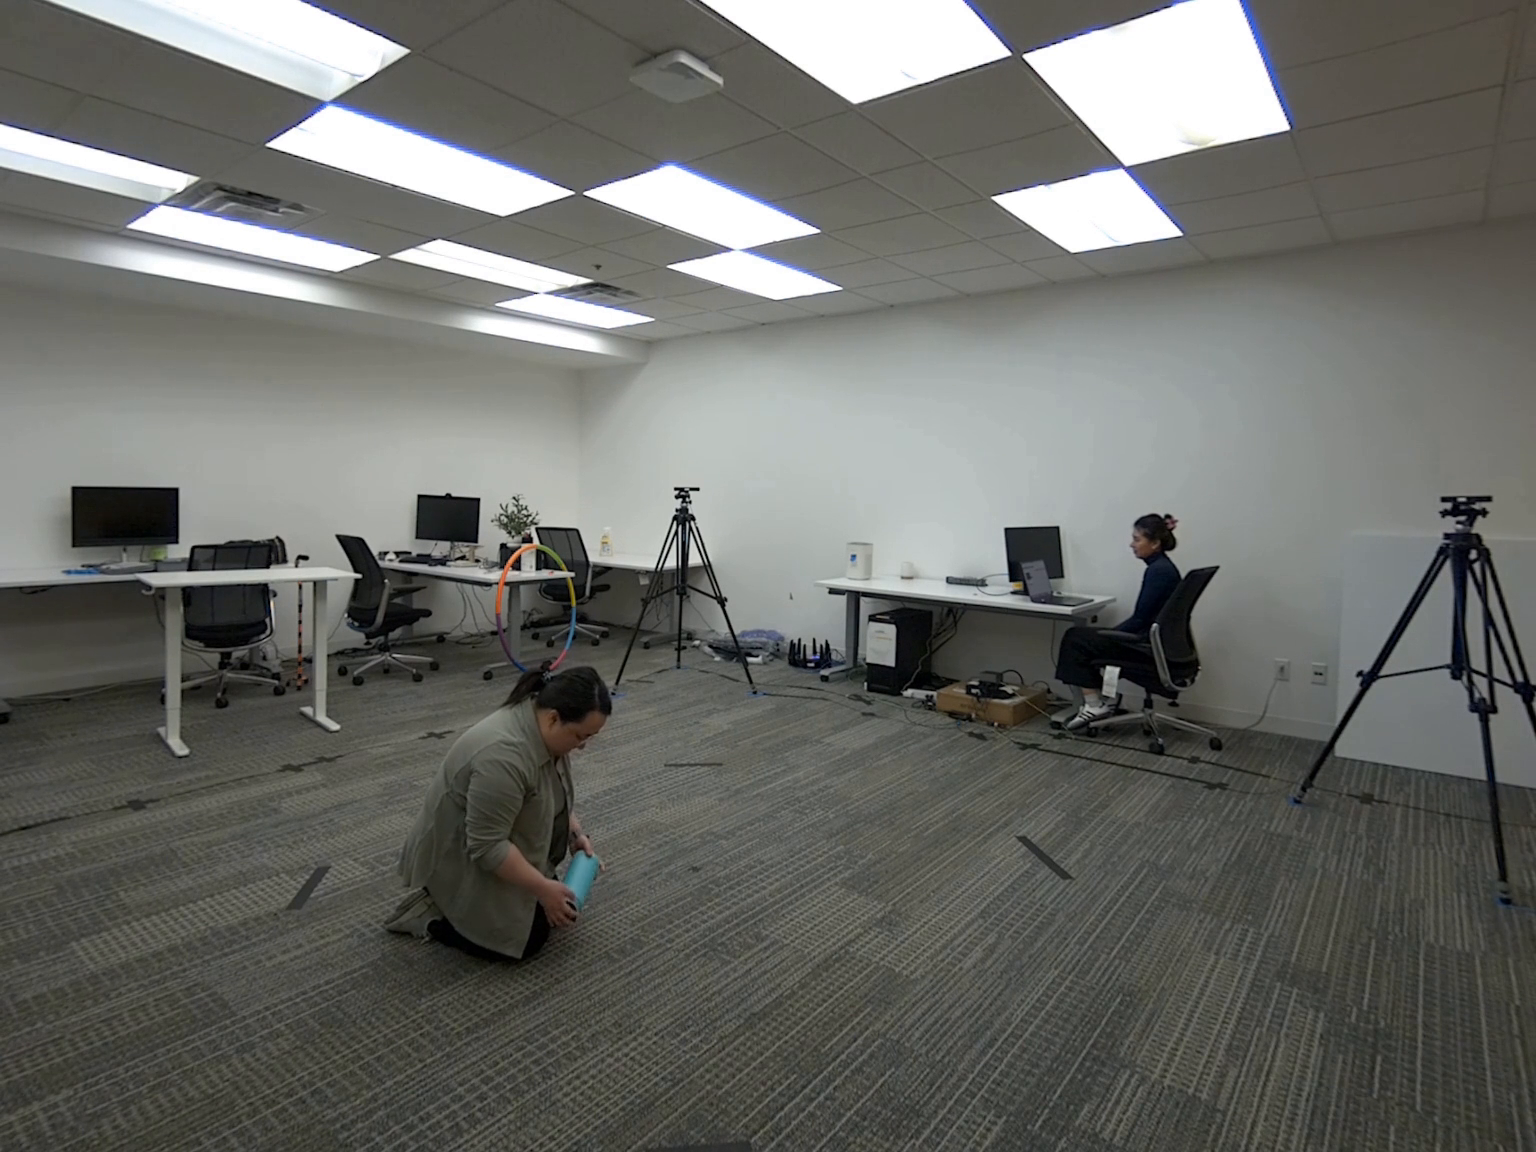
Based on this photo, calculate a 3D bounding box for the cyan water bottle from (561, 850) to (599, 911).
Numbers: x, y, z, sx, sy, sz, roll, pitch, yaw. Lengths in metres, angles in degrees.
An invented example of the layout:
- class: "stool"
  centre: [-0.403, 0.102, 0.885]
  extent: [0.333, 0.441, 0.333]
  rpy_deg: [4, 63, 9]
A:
- class: "cyan water bottle"
  centre: [-0.595, 0.951, 2.569]
  extent: [0.092, 0.091, 0.286]
  rpy_deg: [1, 15, 1]
